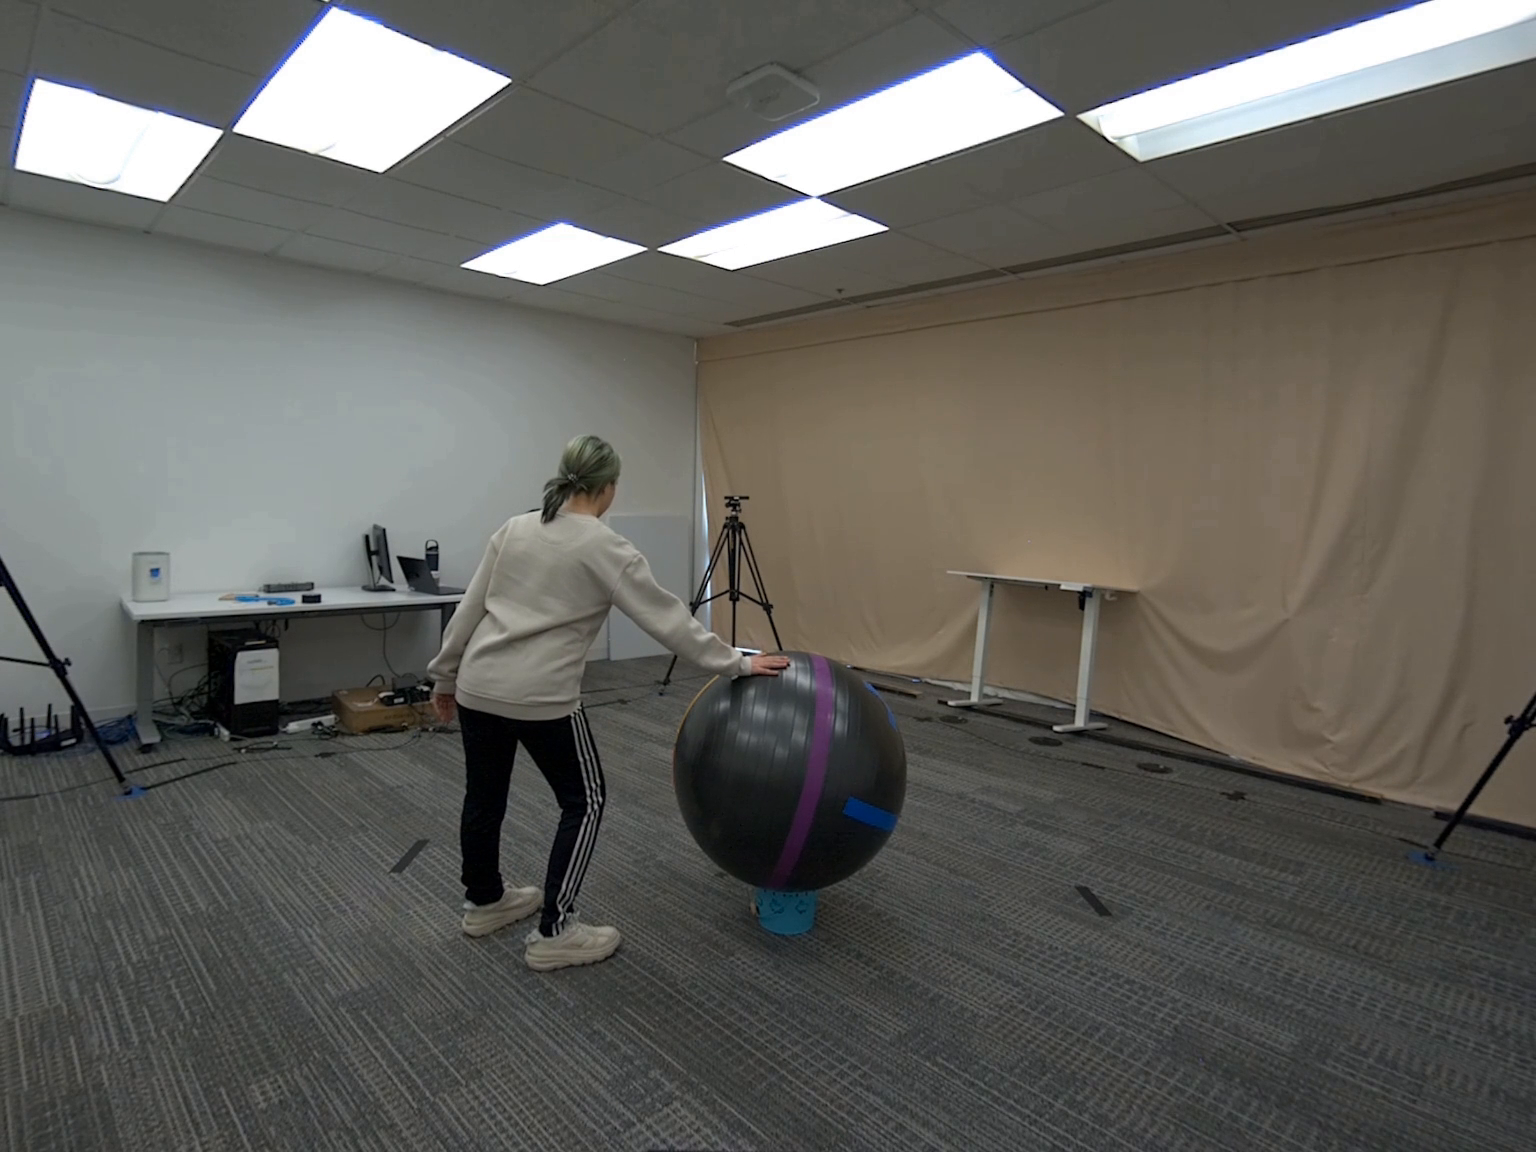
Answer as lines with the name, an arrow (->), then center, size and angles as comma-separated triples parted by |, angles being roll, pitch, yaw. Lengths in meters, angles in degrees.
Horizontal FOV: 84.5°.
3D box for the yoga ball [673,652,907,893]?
yoga ball -> 0.061, 0.631, 2.755 | 0.757, 0.756, 0.761 | 1, 4, -1
